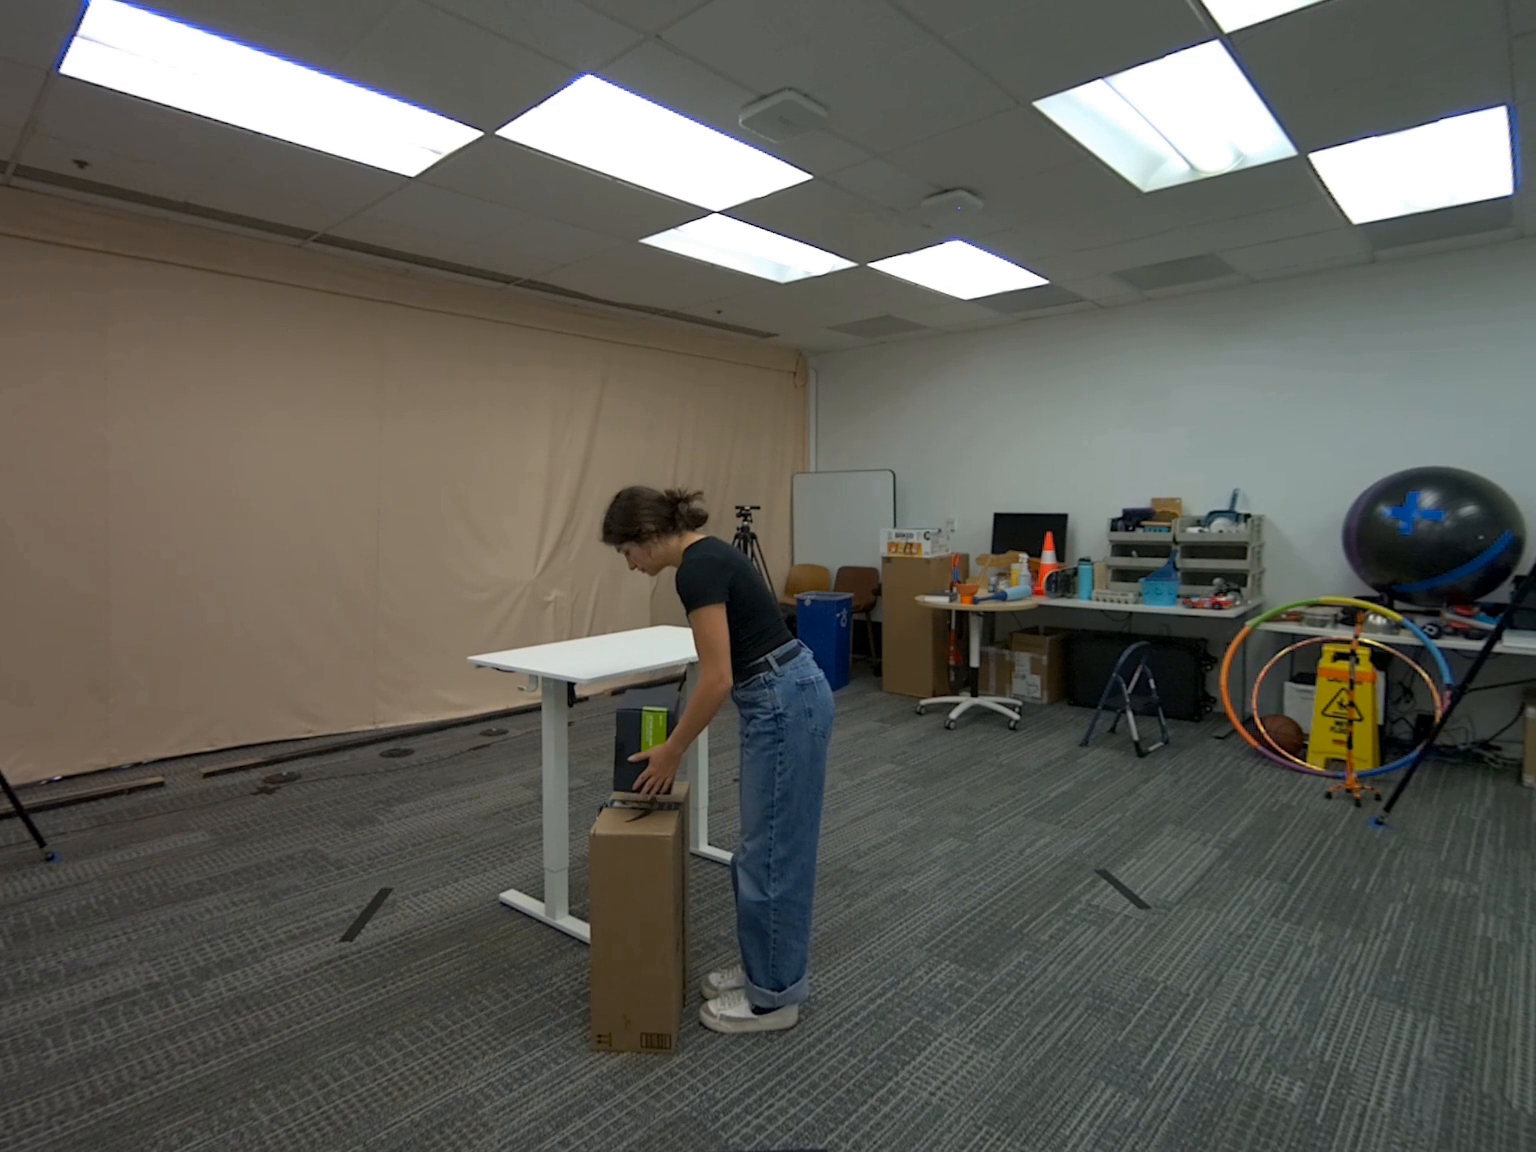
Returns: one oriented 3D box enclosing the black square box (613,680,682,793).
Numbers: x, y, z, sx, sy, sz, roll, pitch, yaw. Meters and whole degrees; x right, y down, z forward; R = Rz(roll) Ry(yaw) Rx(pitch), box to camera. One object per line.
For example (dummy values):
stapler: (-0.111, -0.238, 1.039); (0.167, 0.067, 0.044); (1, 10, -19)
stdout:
black square box: (-0.331, 0.445, 2.339); (0.156, 0.227, 0.218); (1, 7, -2)
